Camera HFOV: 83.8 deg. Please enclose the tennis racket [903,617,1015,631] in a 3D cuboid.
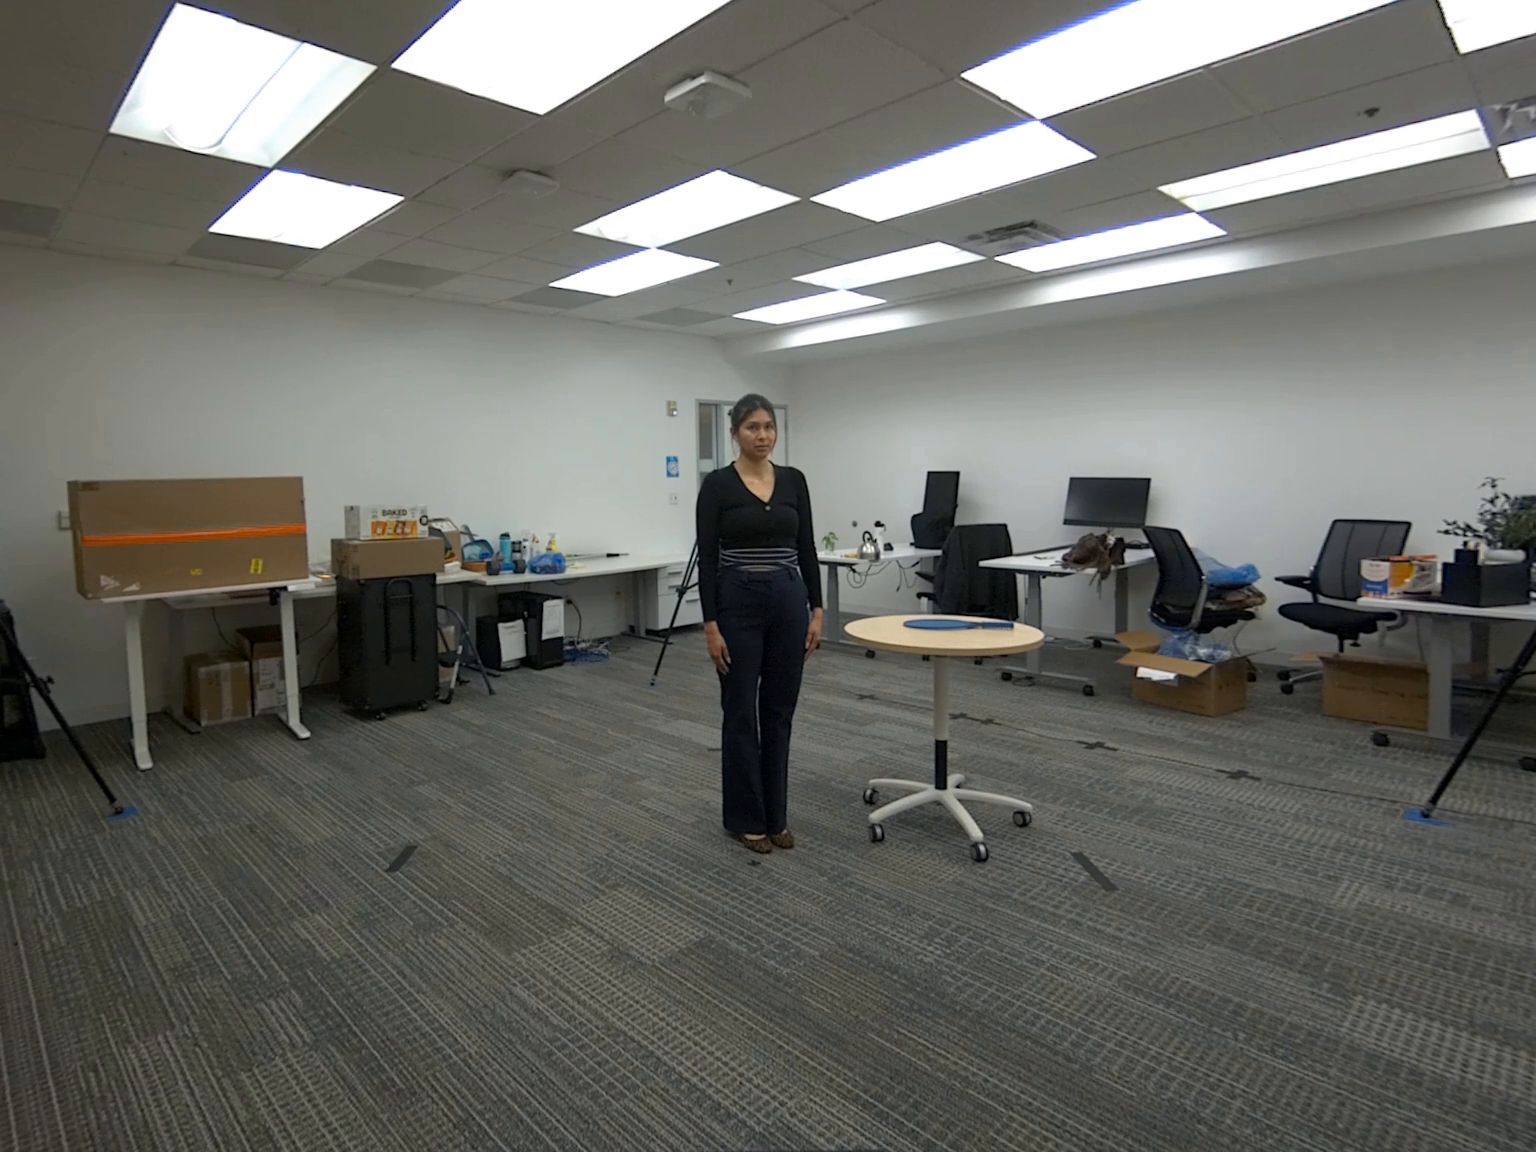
[{"bbox_3d":[0.775,0.197,3.462,0.440,0.031,0.211,0,7,17],"label":"tennis racket"}]
